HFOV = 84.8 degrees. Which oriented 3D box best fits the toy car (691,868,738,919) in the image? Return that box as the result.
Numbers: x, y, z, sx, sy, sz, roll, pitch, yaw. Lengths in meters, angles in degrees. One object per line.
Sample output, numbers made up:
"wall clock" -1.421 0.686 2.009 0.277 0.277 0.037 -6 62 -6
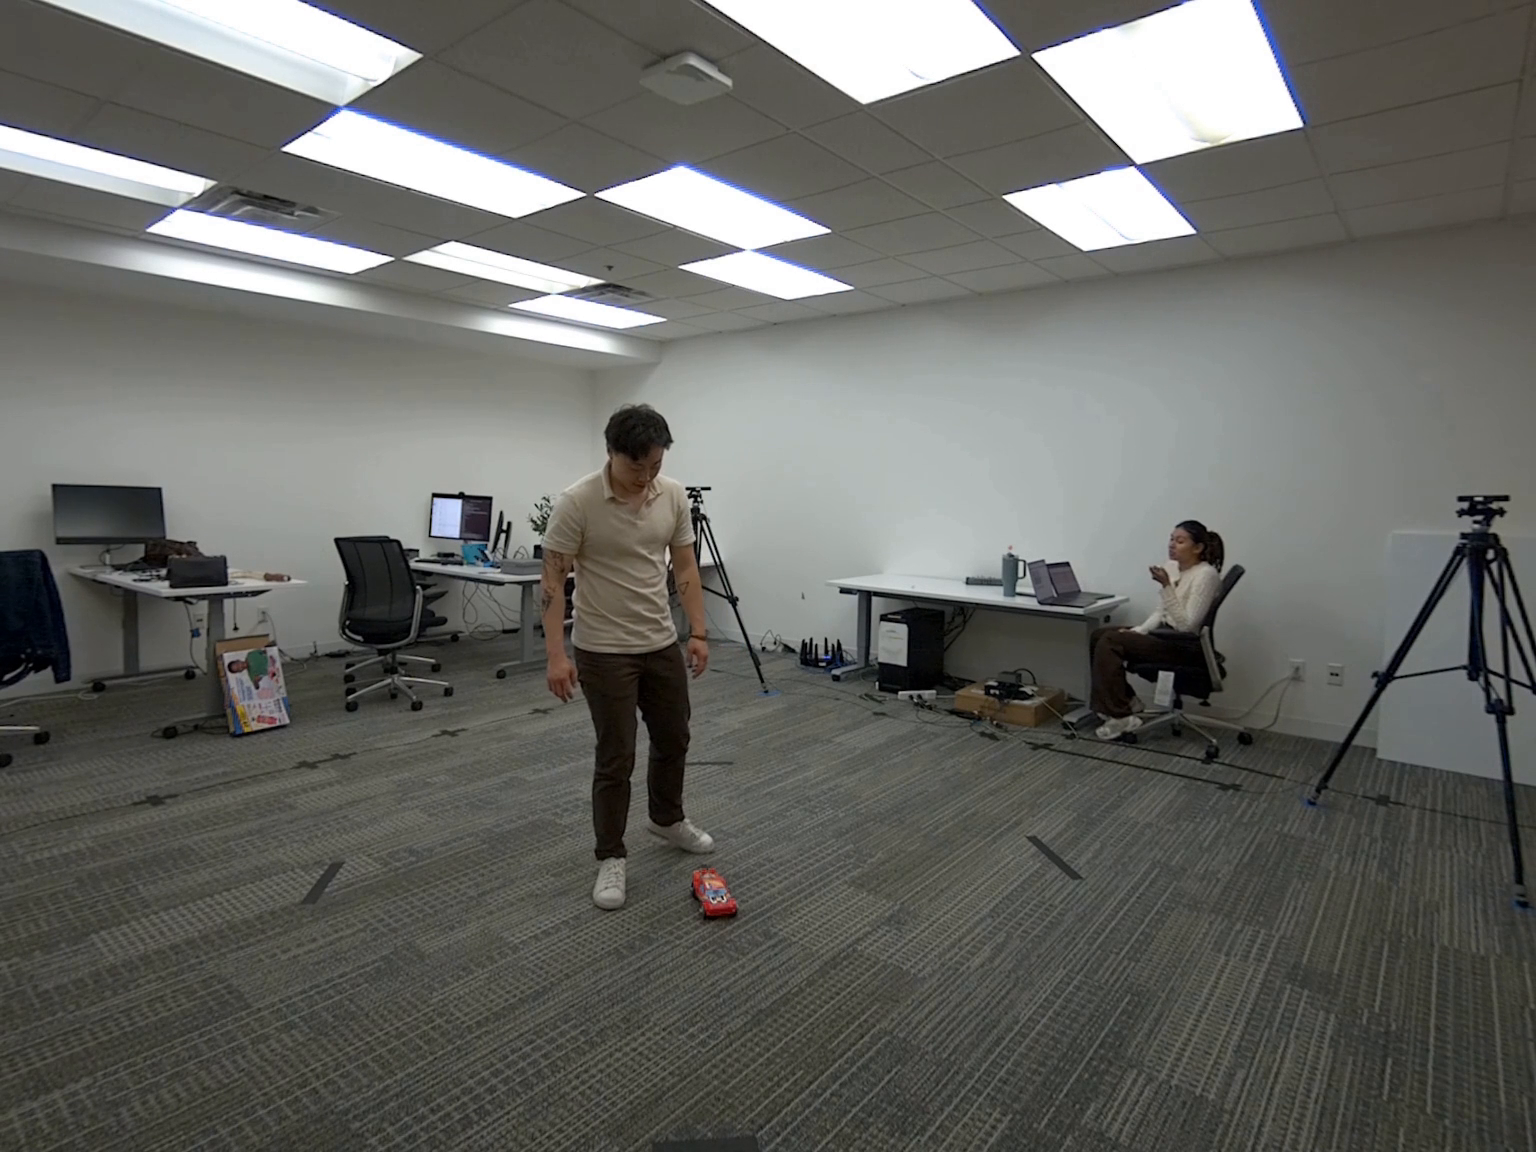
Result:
"toy car" -0.192 1.059 2.840 0.128 0.082 0.261 -1 15 -14
